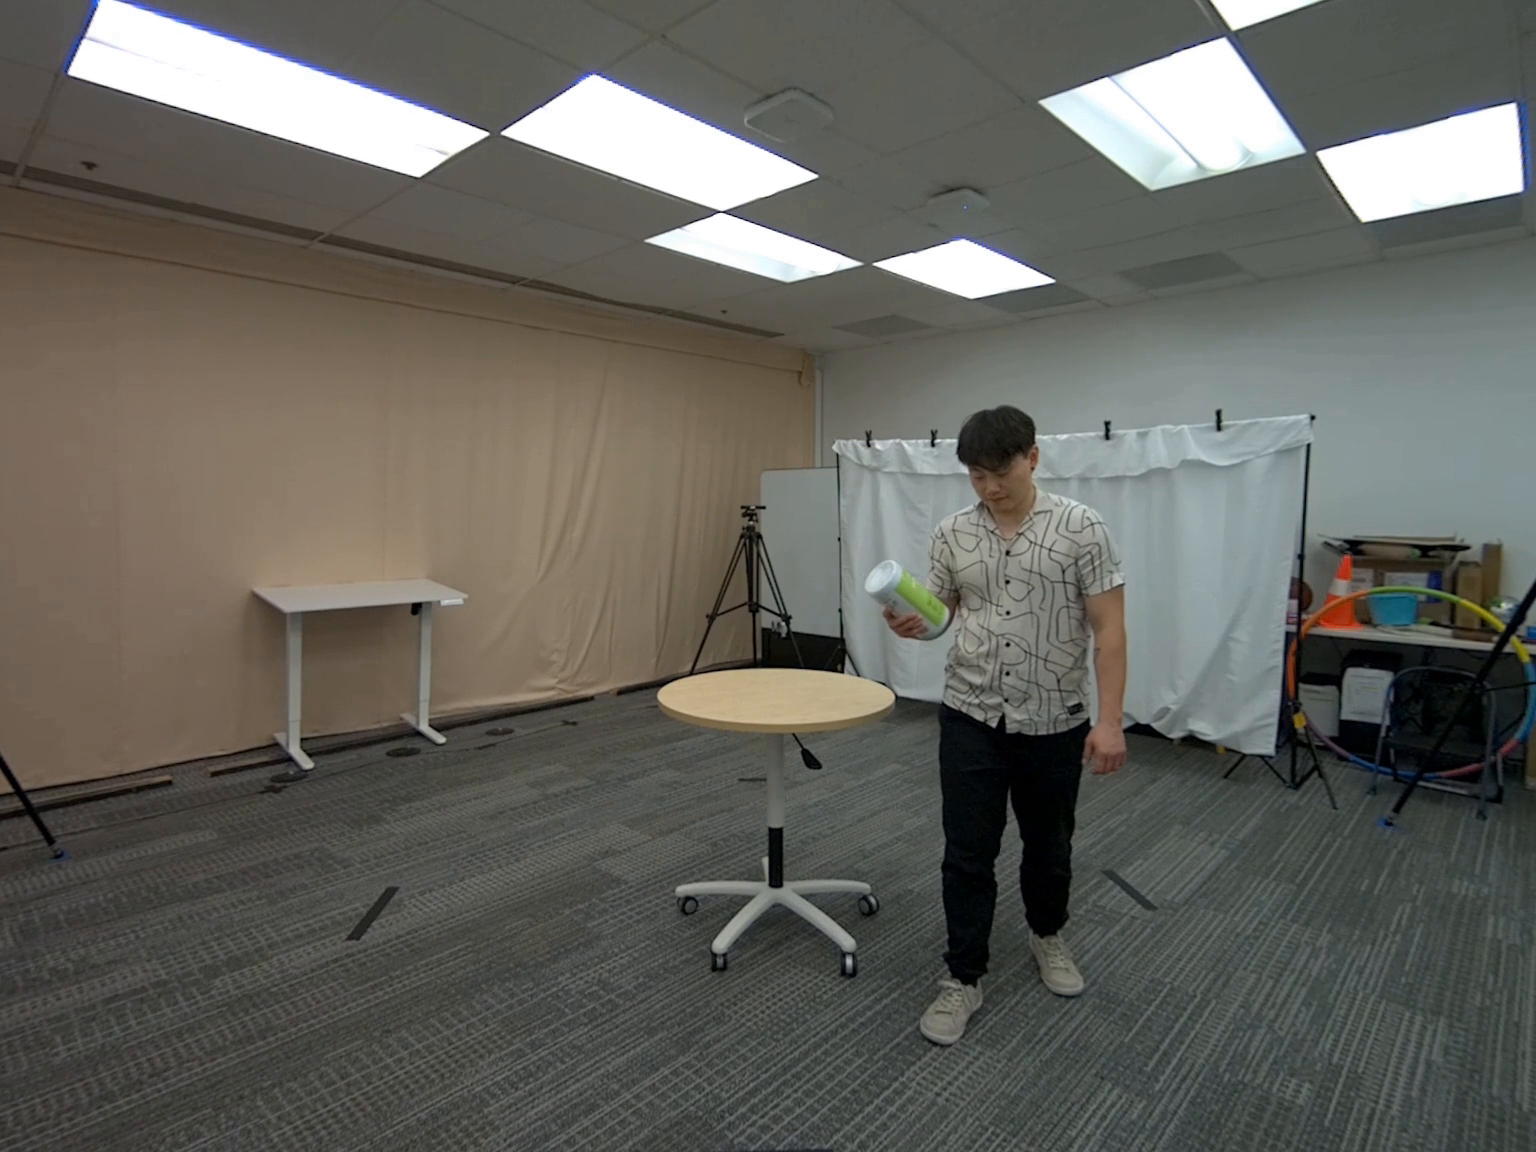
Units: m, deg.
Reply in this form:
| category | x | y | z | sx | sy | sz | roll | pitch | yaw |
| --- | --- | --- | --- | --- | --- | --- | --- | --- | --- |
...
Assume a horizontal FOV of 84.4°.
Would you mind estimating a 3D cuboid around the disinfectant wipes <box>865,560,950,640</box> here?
| category | x | y | z | sx | sy | sz | roll | pitch | yaw |
| --- | --- | --- | --- | --- | --- | --- | --- | --- | --- |
| disinfectant wipes | 0.375 | 0.066 | 2.169 | 0.214 | 0.117 | 0.120 | 40 | -7 | -13 |
